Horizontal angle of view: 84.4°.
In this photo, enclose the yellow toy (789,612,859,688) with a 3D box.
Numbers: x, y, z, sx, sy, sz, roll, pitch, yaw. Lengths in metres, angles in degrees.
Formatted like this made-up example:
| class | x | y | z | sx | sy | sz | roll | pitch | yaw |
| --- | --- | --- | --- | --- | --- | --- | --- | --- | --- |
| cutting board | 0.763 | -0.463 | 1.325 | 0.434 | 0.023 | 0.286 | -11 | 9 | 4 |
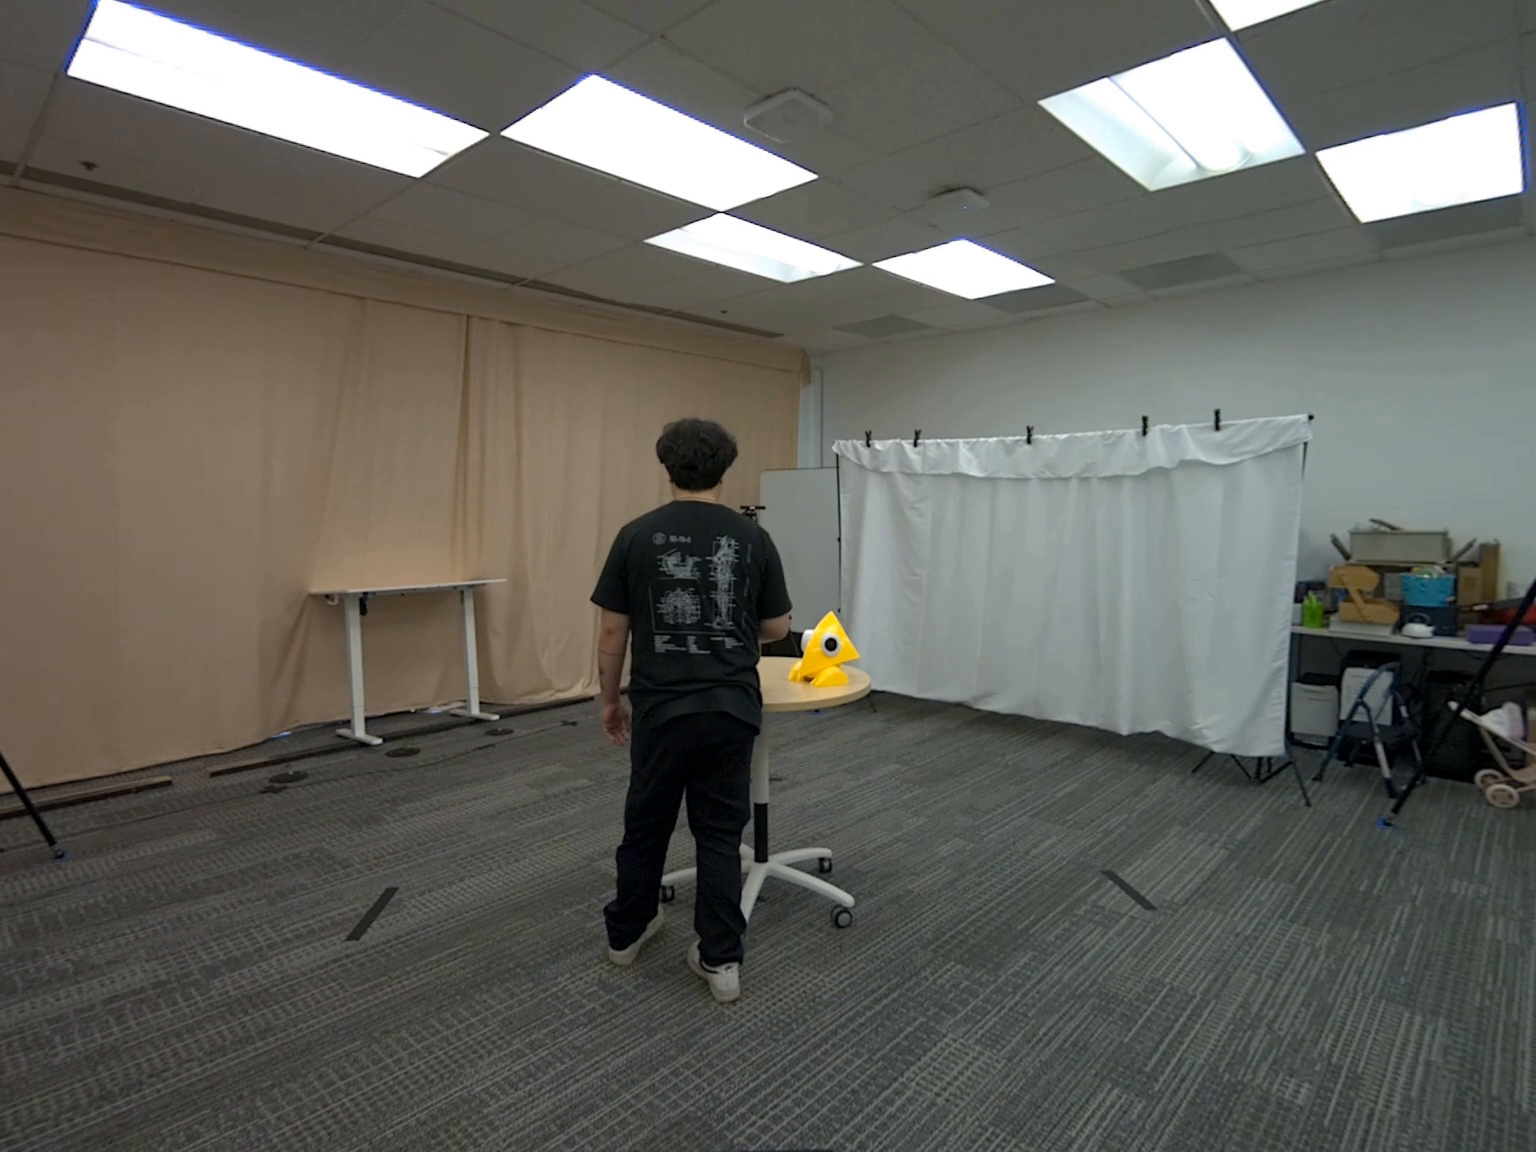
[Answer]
| class | x | y | z | sx | sy | sz | roll | pitch | yaw |
| --- | --- | --- | --- | --- | --- | --- | --- | --- | --- |
| yellow toy | 0.182 | 0.243 | 2.878 | 0.187 | 0.230 | 0.211 | -4 | 5 | -41 |
